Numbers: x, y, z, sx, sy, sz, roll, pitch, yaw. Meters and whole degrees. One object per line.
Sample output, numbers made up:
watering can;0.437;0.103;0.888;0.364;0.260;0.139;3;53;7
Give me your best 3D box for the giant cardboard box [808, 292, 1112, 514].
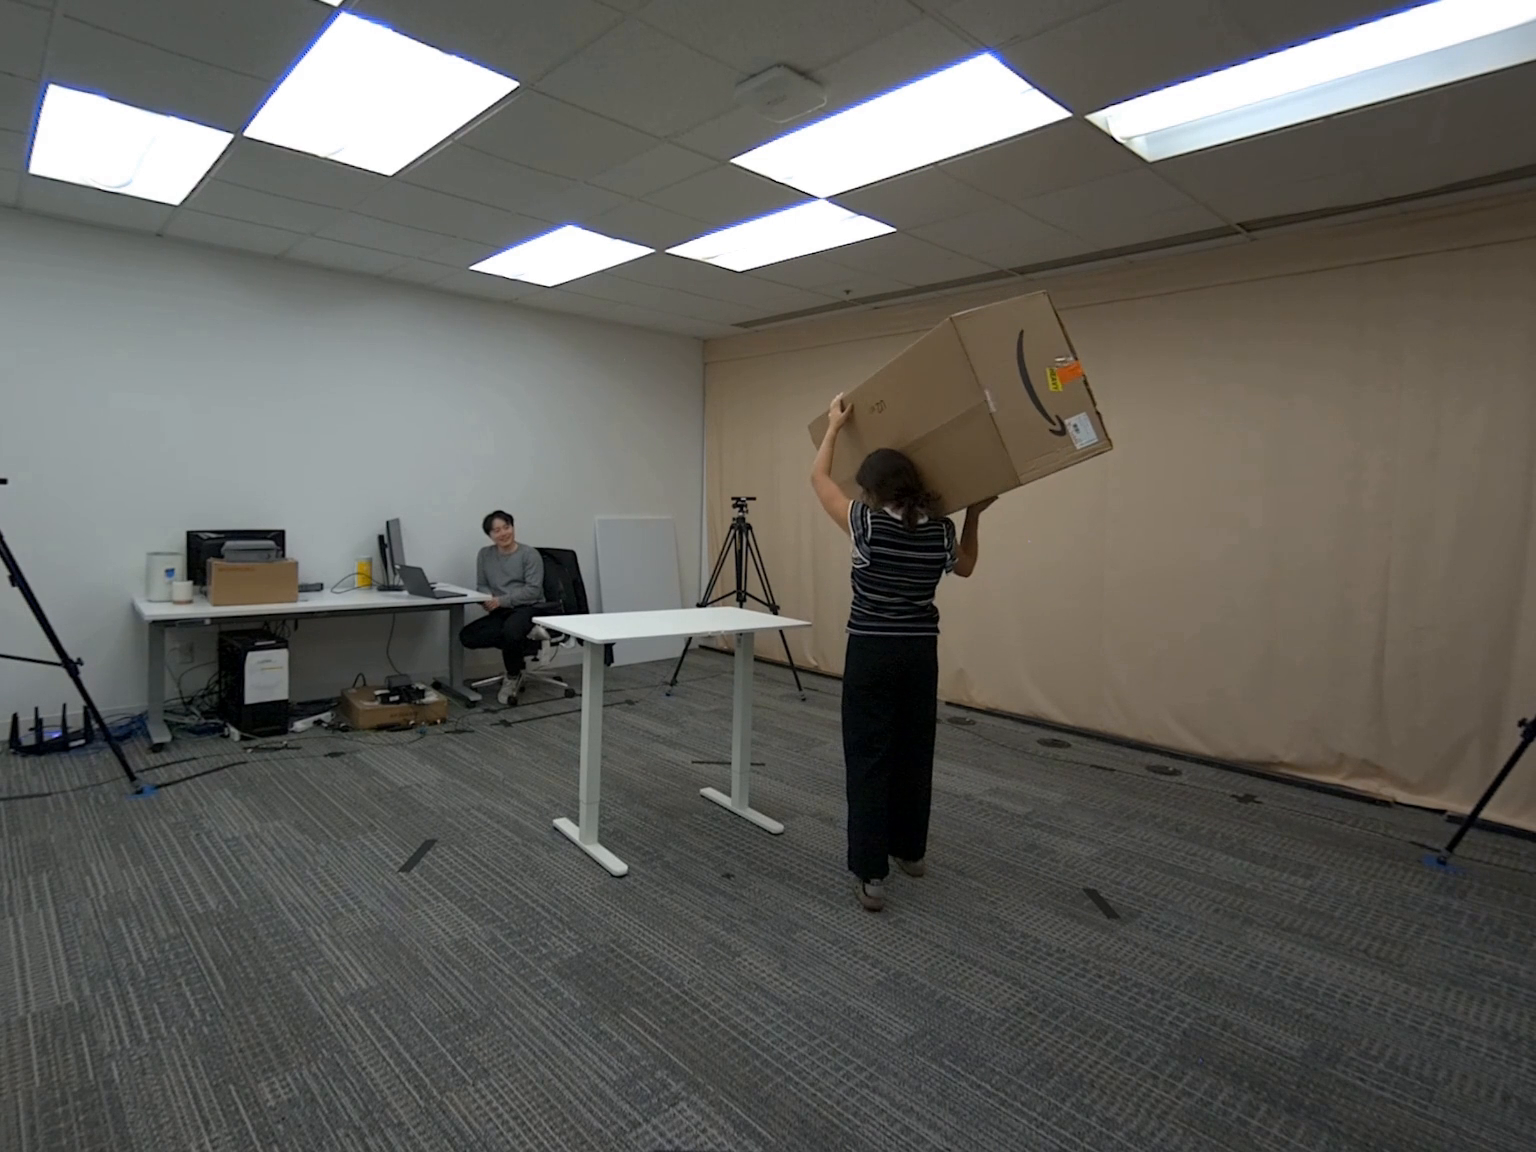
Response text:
giant cardboard box;0.641;-0.520;3.140;0.421;0.579;1.034;-21;-2;-25
